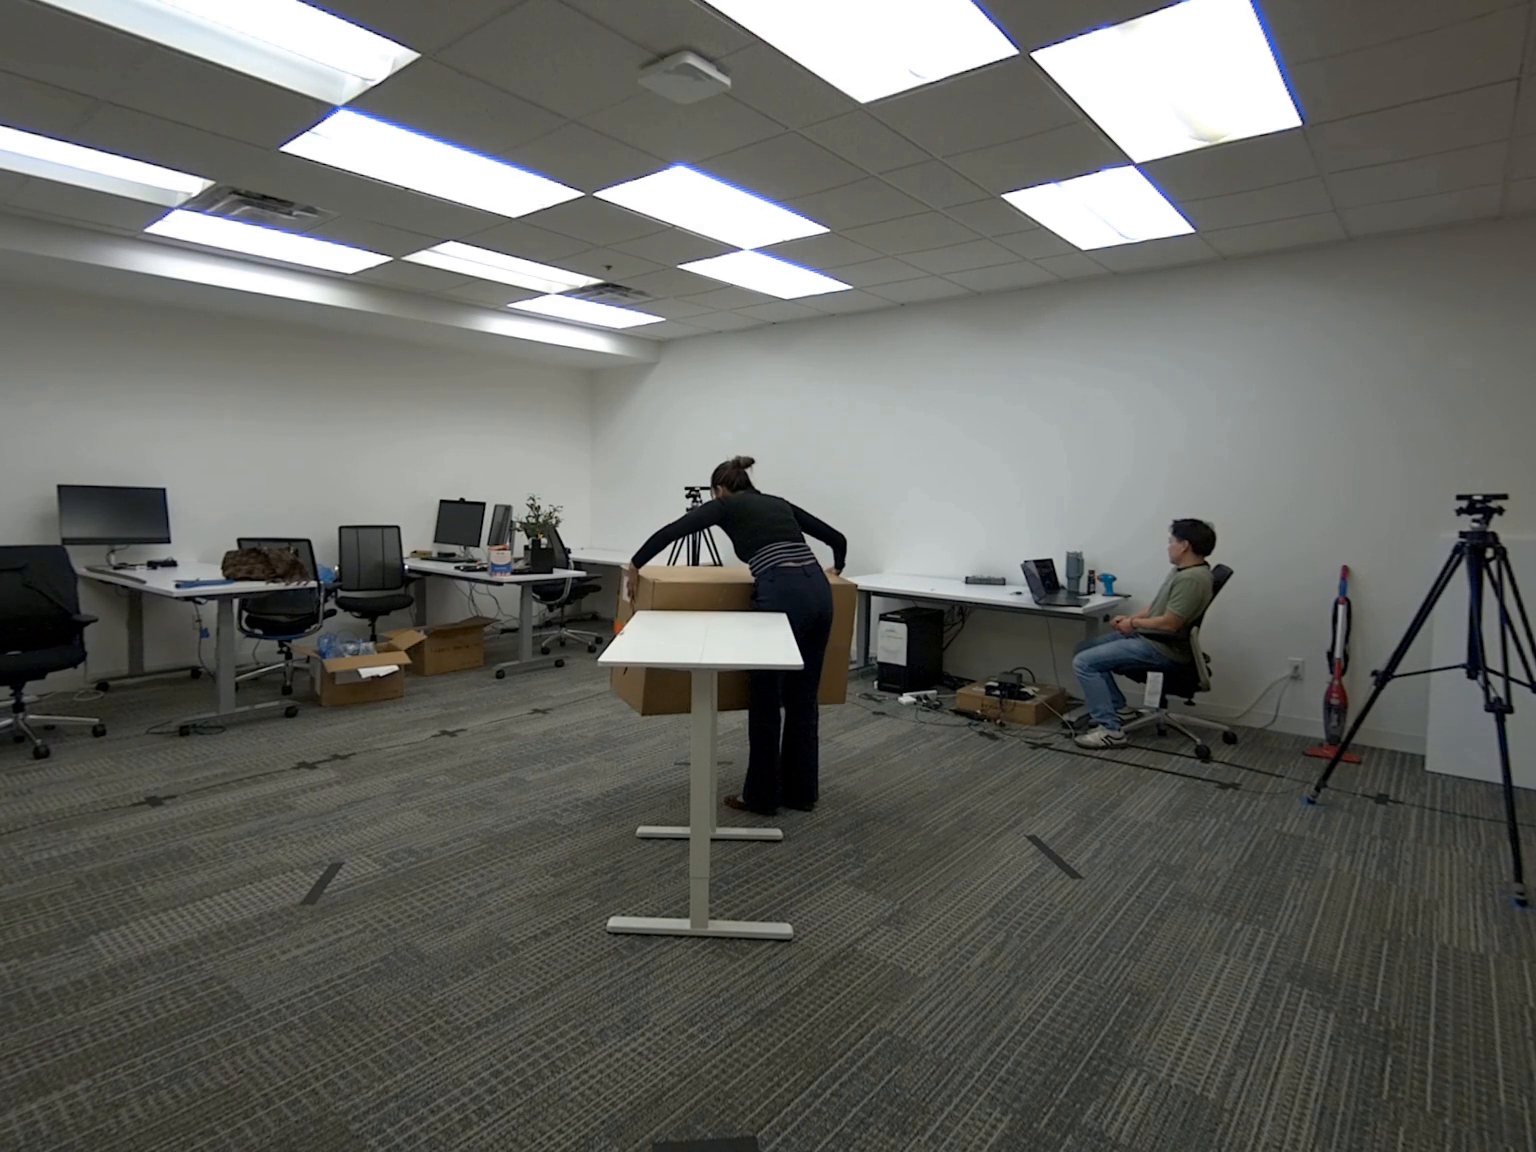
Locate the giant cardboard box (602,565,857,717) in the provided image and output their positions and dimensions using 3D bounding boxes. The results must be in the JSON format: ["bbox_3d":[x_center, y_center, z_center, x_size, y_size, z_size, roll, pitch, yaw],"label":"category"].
[{"bbox_3d":[-0.172,0.270,3.926,0.999,0.574,0.440,1,7,-27],"label":"giant cardboard box"}]
